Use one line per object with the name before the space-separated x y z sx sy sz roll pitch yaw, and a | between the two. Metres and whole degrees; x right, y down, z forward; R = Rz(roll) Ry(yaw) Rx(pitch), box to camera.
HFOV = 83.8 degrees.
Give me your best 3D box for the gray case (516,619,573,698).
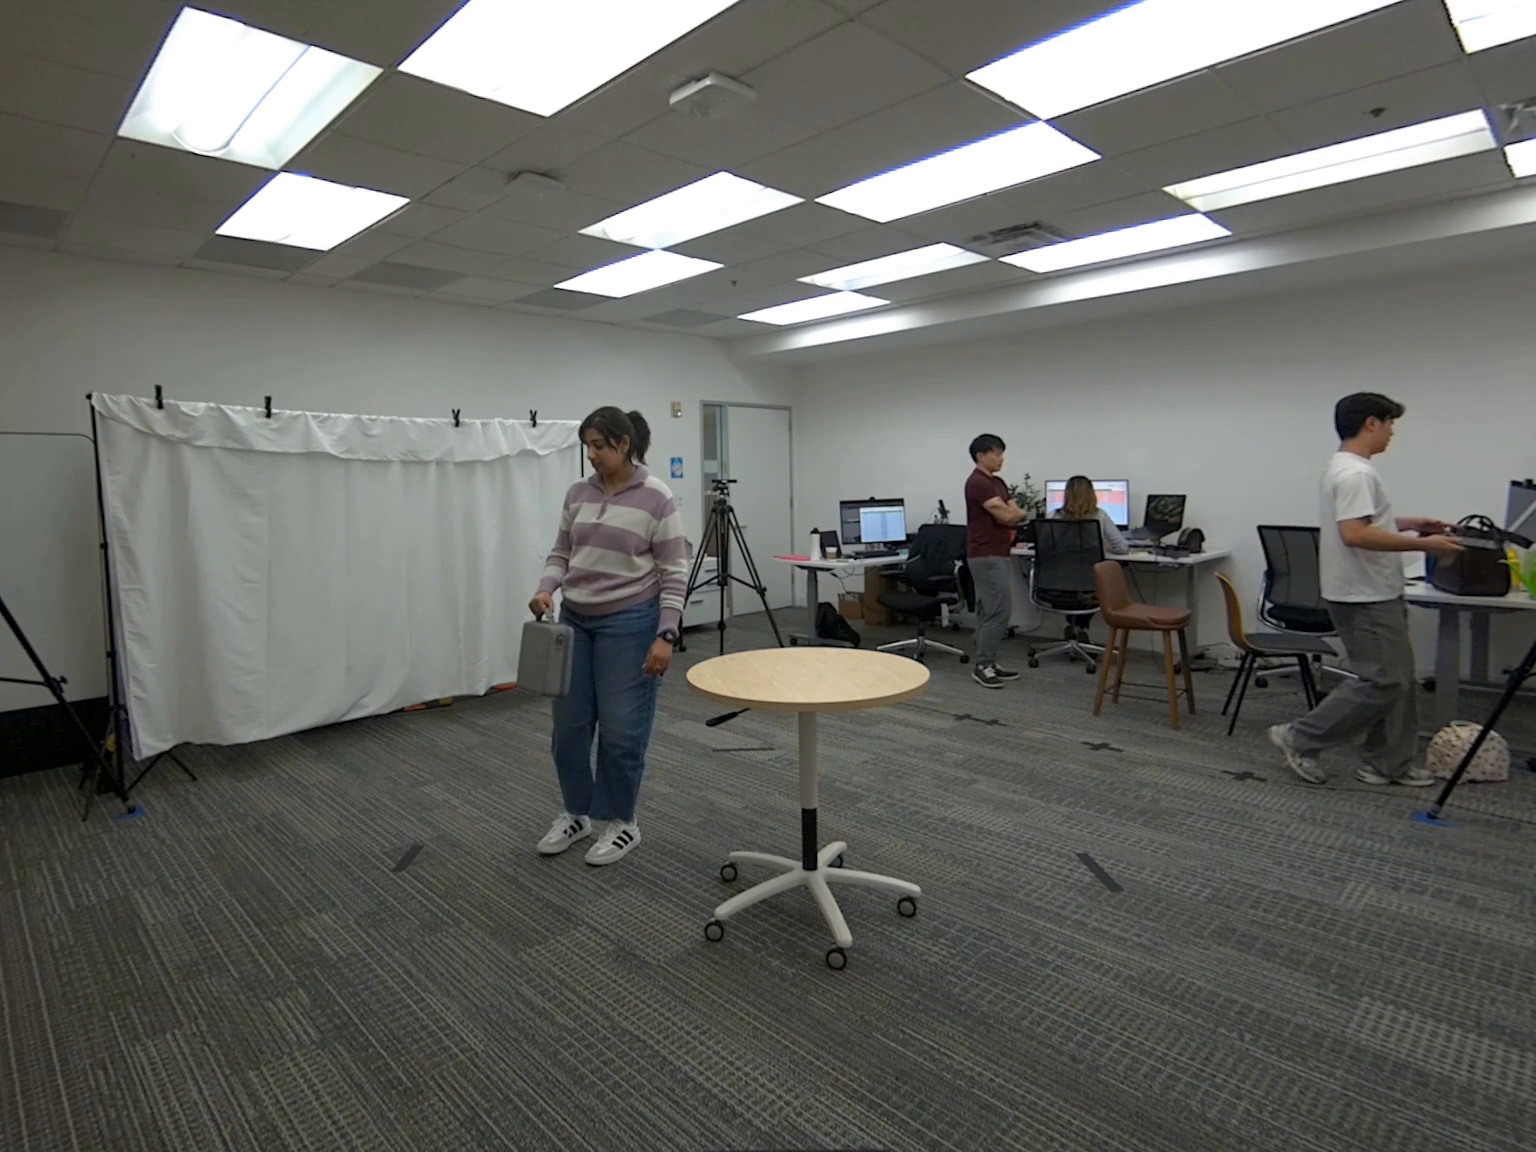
gray case | -0.792 0.286 3.069 0.101 0.261 0.264 7 -3 -34
